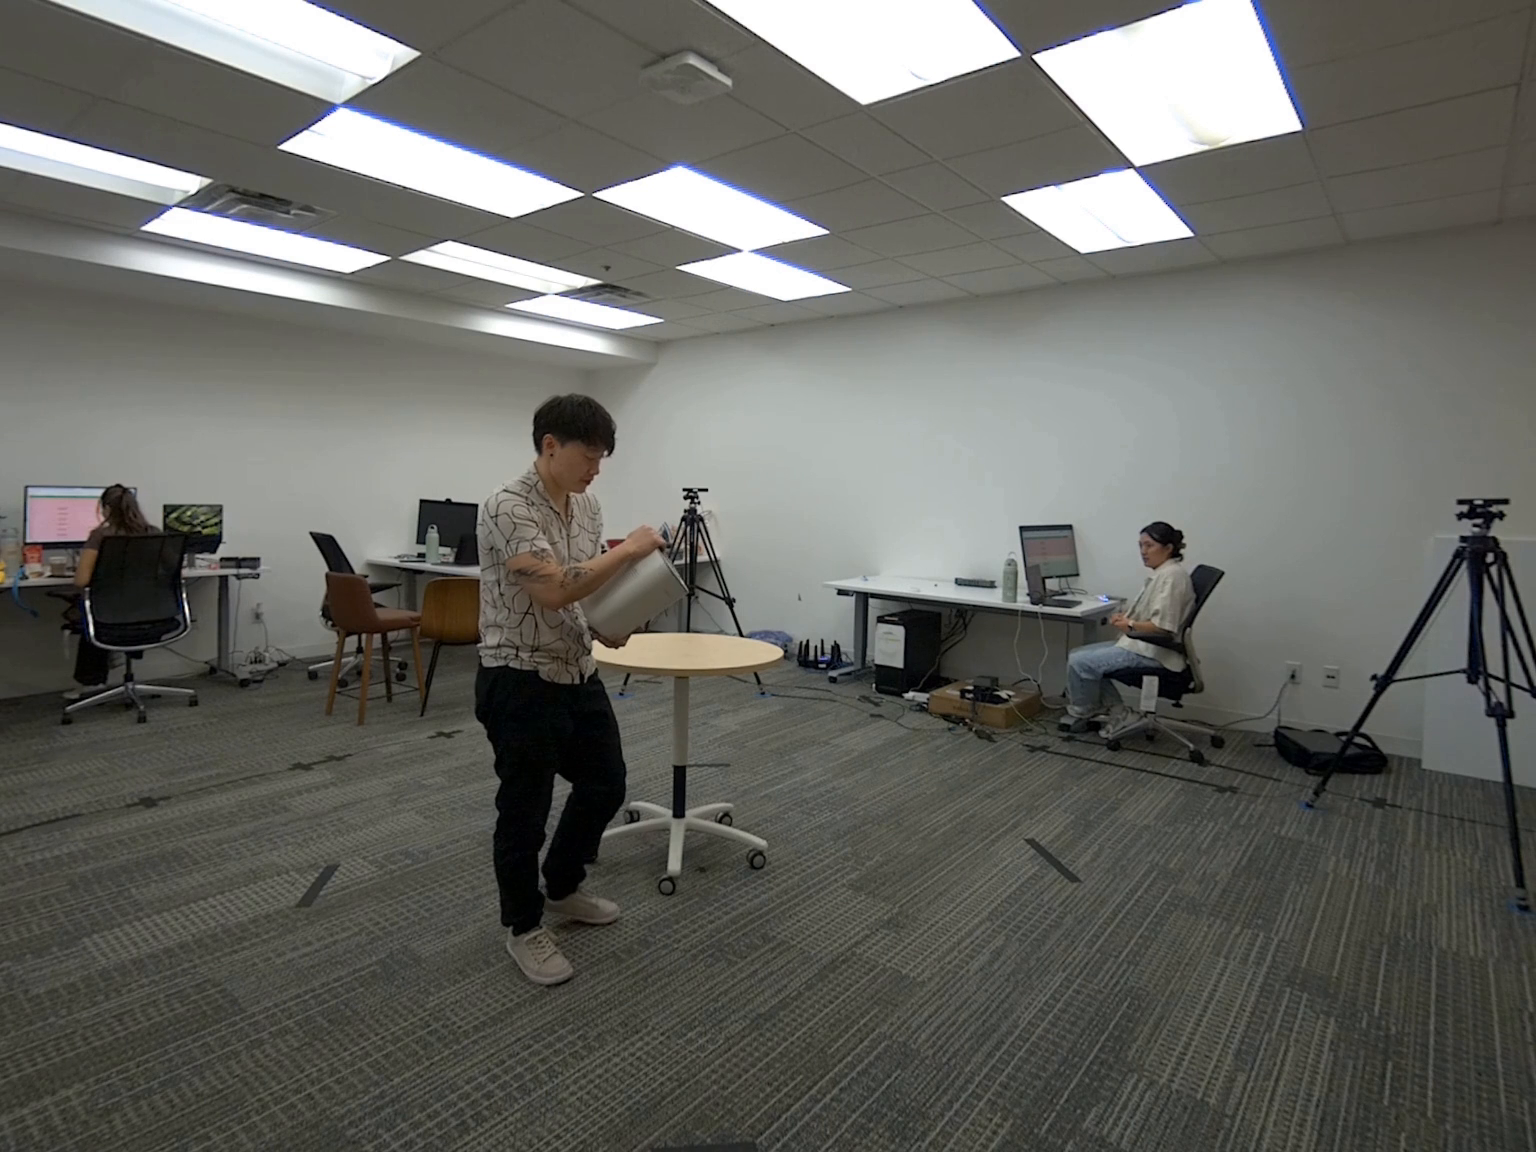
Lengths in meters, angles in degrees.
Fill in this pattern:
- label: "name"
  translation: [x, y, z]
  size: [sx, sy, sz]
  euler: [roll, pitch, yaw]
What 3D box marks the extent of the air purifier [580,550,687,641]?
- label: "air purifier"
  translation: [-0.389, 0.040, 2.344]
  size: [0.265, 0.179, 0.164]
  euler: [-34, -41, -1]
